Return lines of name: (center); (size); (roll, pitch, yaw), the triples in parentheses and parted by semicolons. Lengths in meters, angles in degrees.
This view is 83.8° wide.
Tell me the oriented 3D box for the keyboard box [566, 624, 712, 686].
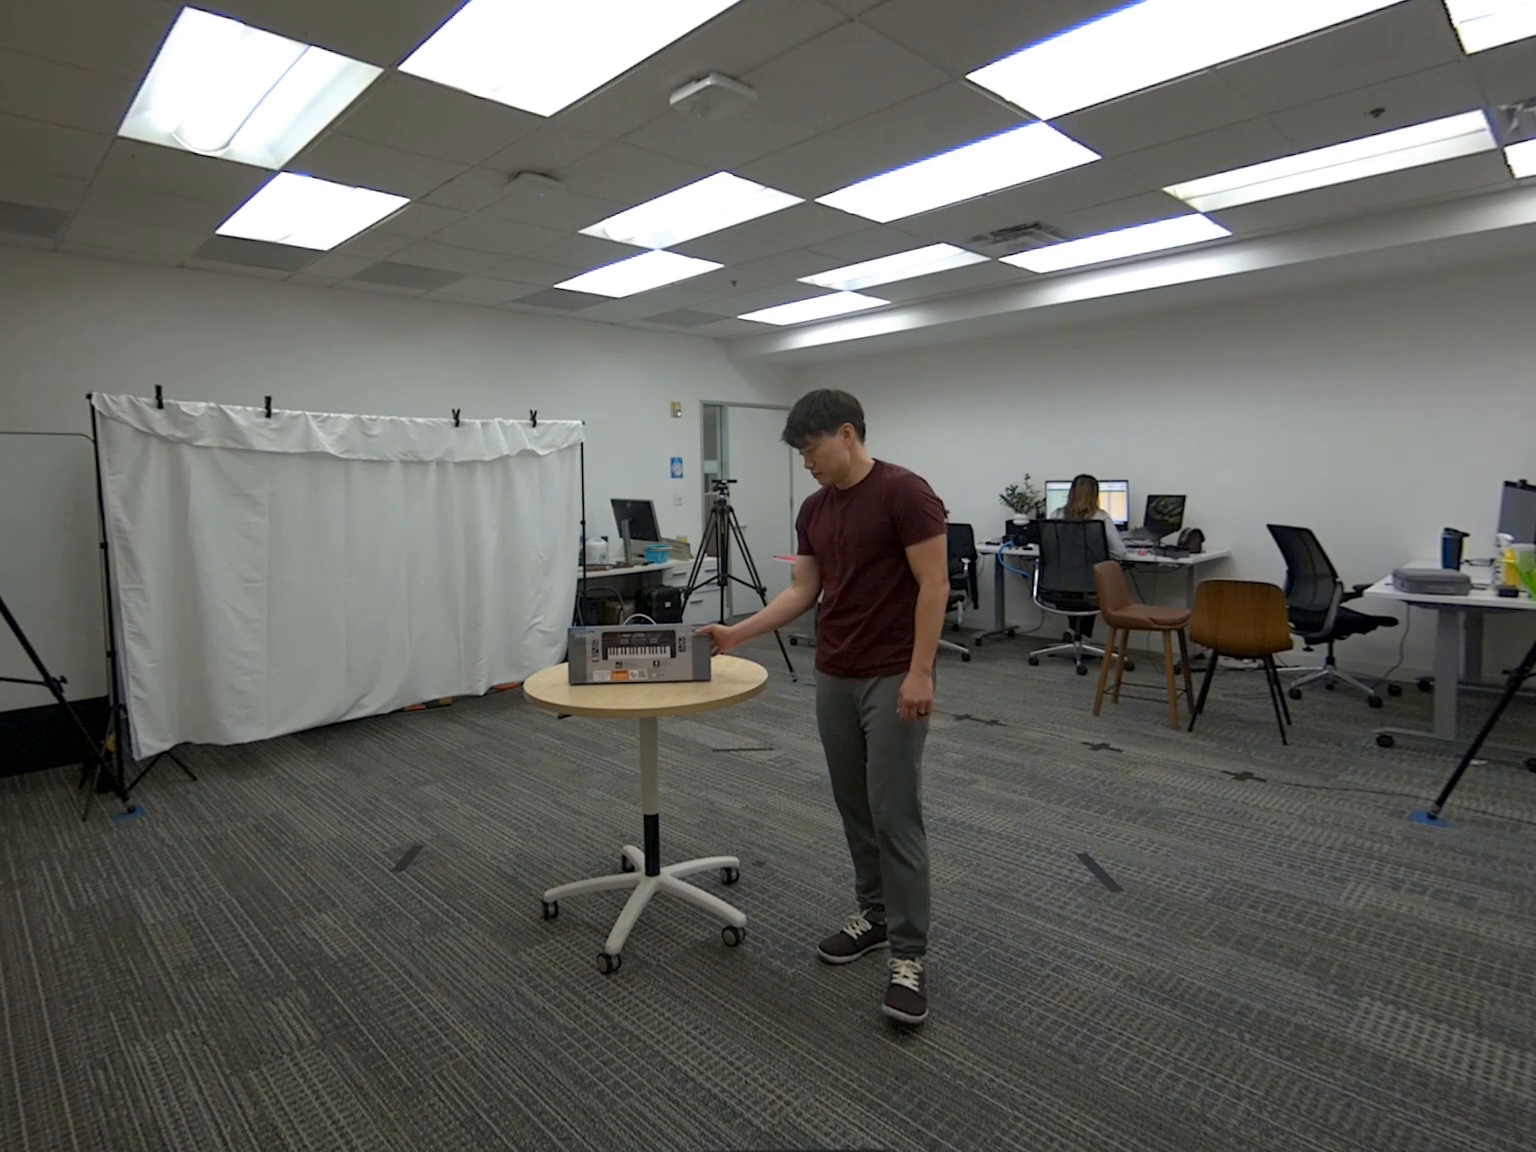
keyboard box: (-0.391, 0.239, 2.632); (0.437, 0.176, 0.059); (-1, -3, 0)
